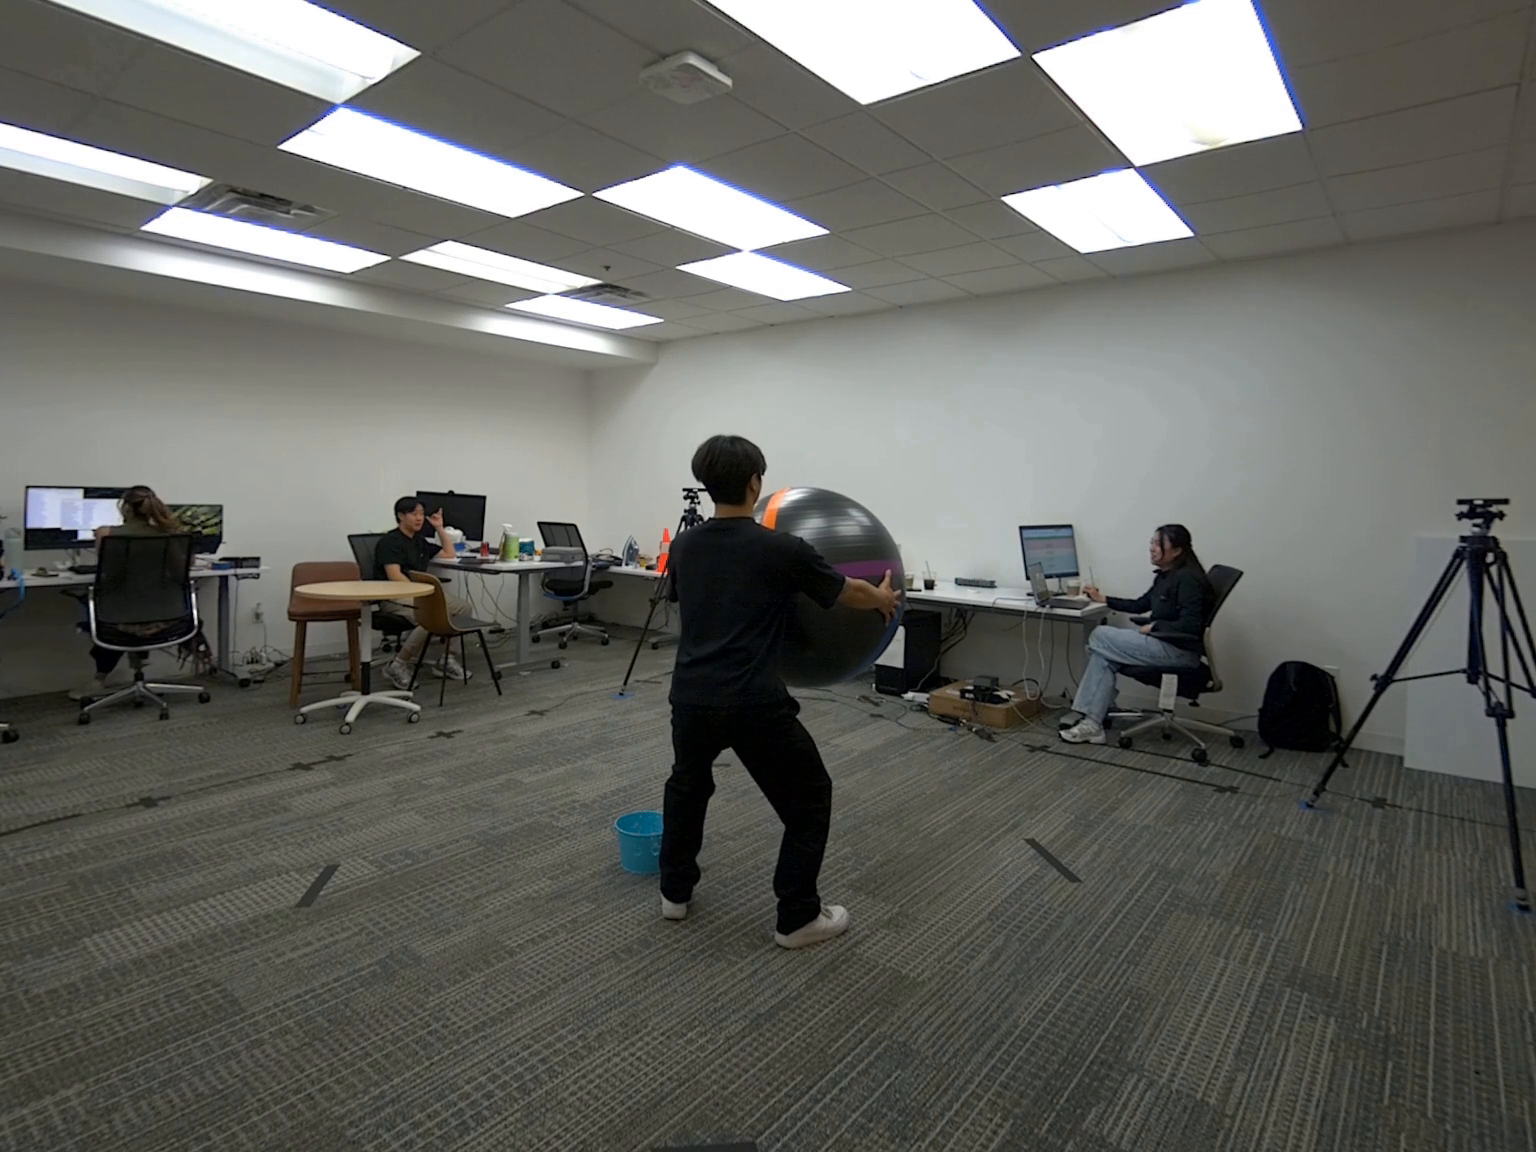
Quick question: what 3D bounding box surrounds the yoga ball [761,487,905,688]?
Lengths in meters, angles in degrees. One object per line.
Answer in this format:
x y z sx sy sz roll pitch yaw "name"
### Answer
0.156 0.044 3.279 0.757 0.755 0.762 1 4 -2 "yoga ball"
